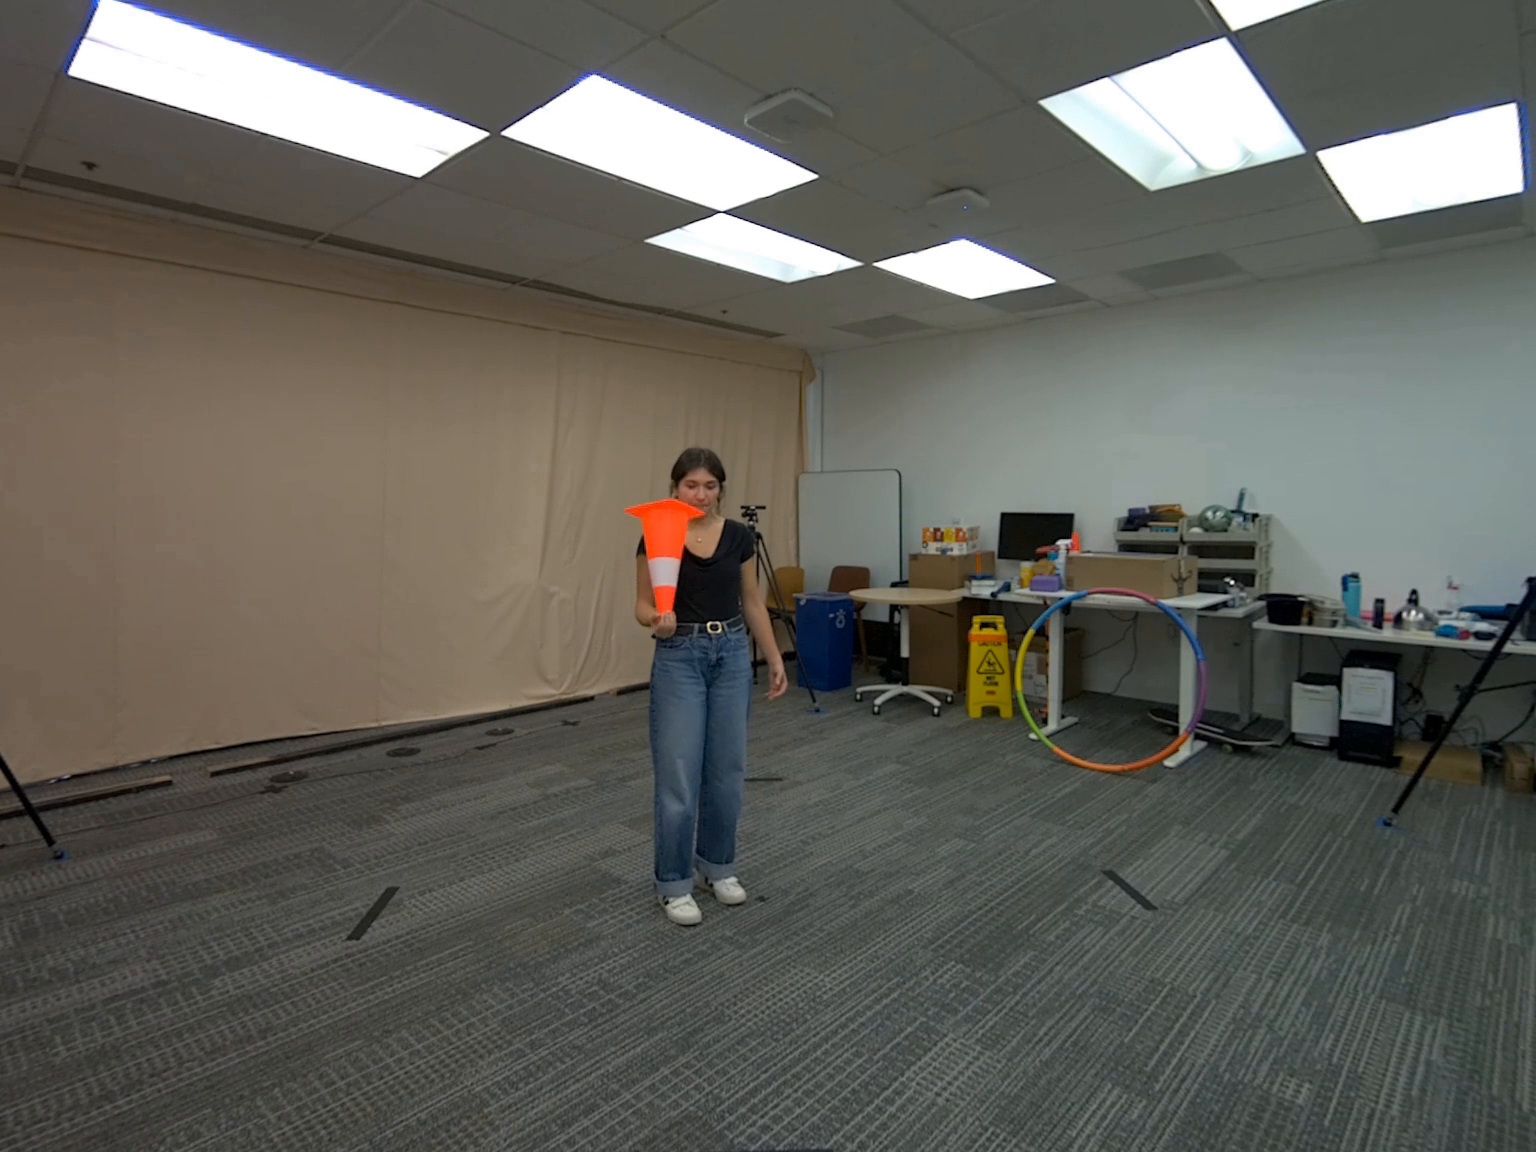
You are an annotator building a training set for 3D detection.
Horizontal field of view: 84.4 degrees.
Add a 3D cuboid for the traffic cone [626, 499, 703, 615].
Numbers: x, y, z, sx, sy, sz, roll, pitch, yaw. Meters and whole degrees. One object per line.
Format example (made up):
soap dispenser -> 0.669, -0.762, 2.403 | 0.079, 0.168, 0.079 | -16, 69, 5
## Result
traffic cone -> -0.314, -0.019, 2.688 | 0.208, 0.388, 0.198 | -12, -18, 31
